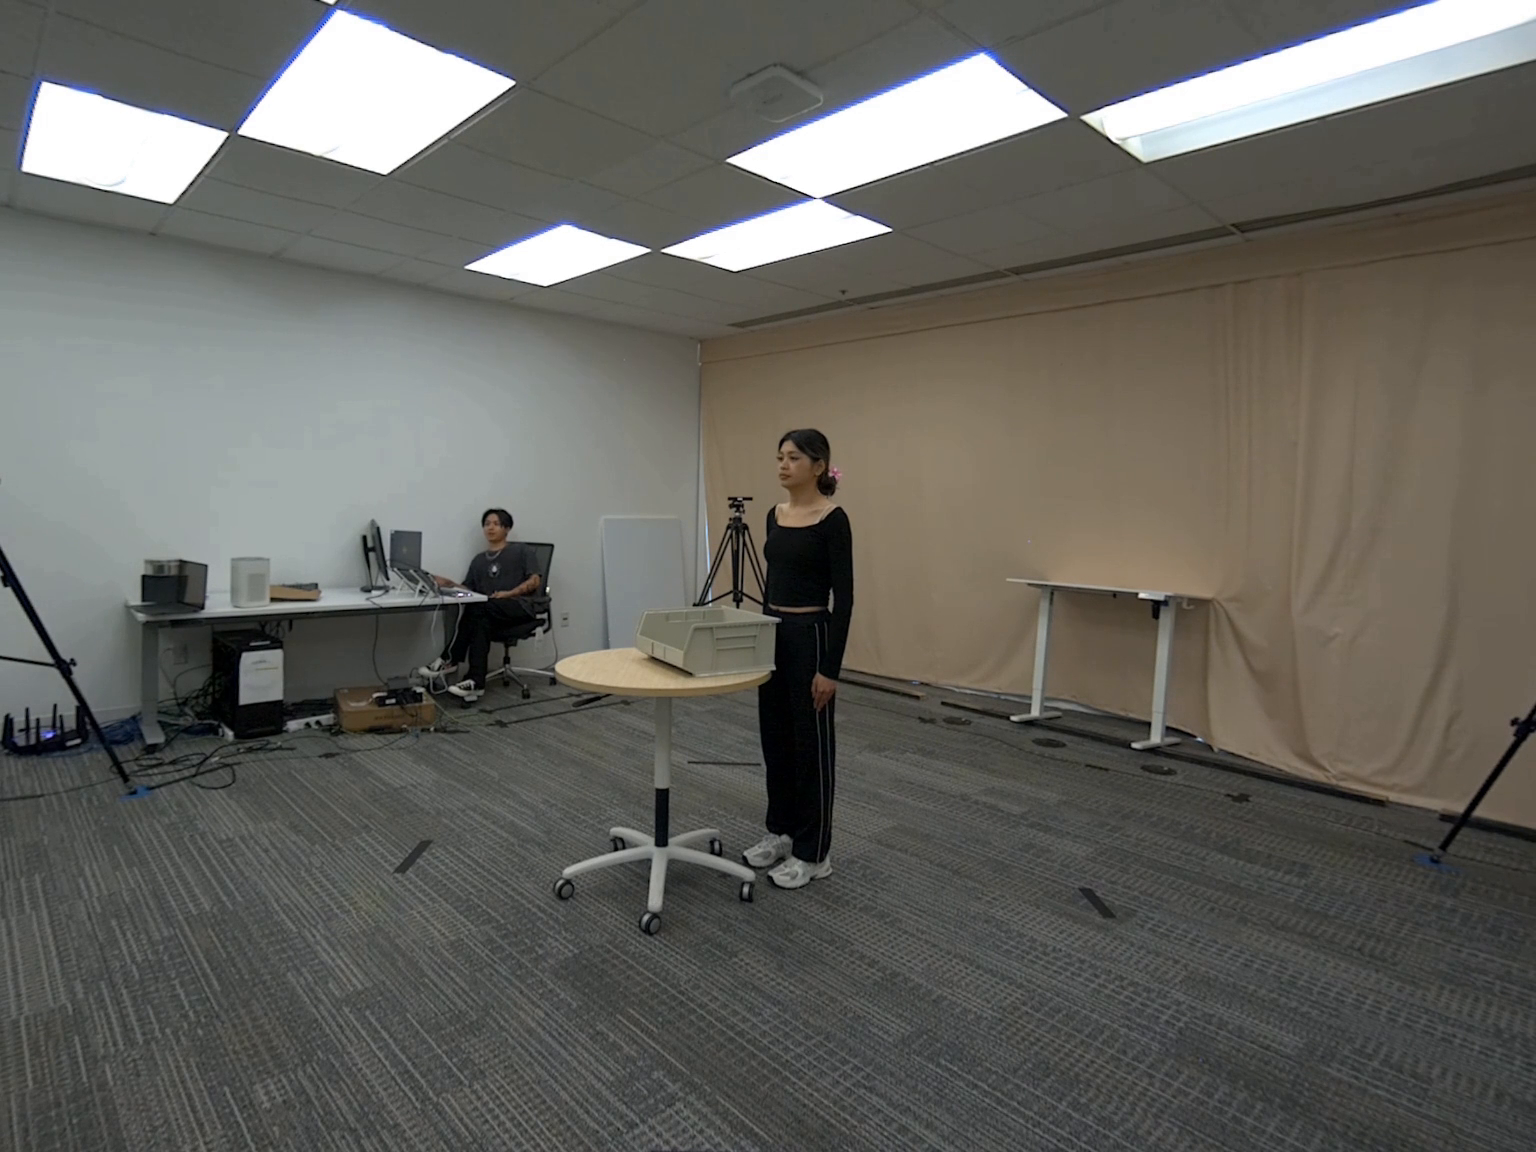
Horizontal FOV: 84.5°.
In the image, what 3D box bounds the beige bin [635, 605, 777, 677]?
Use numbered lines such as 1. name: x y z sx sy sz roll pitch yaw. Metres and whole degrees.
1. beige bin: -0.233 0.228 3.022 0.369 0.188 0.432 -1 5 -31
